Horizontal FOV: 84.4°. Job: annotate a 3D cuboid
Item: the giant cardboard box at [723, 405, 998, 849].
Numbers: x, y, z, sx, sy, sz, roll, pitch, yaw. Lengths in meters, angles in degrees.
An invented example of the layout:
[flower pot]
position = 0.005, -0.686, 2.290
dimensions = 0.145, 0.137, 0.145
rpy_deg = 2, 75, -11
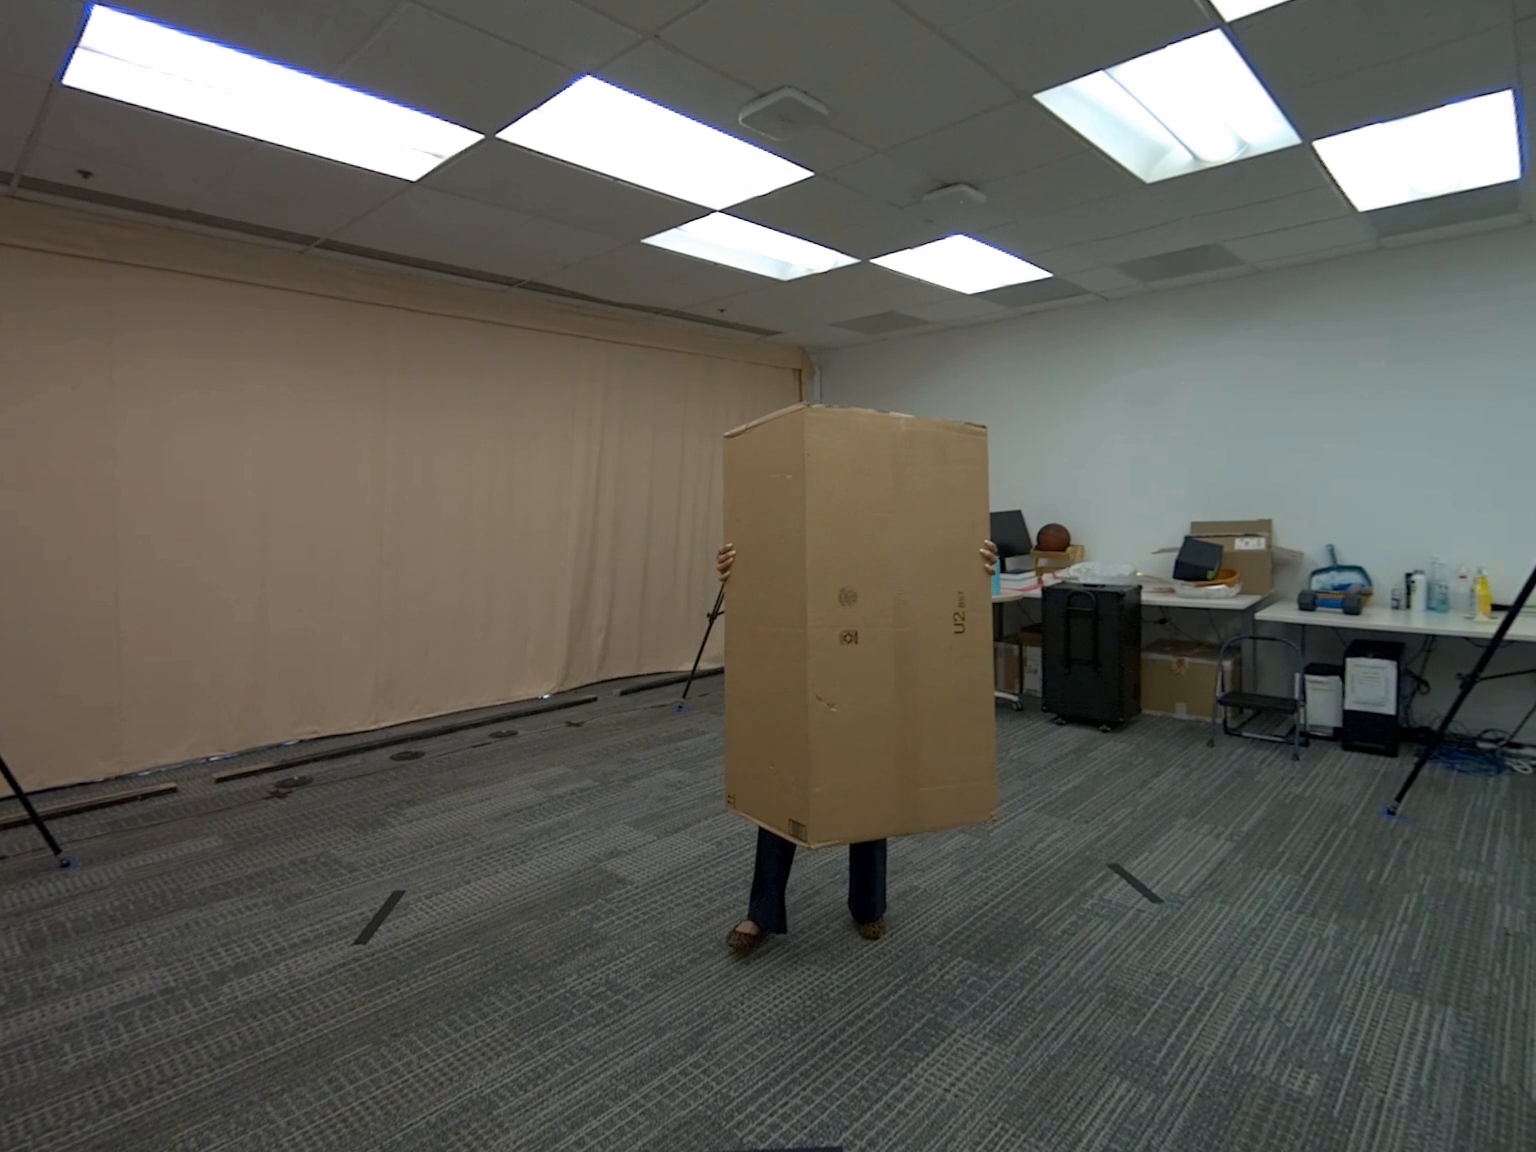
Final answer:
[giant cardboard box]
position = 0.228, 0.117, 2.234
dimensions = 0.562, 1.028, 0.436
rpy_deg = 1, -3, -28
